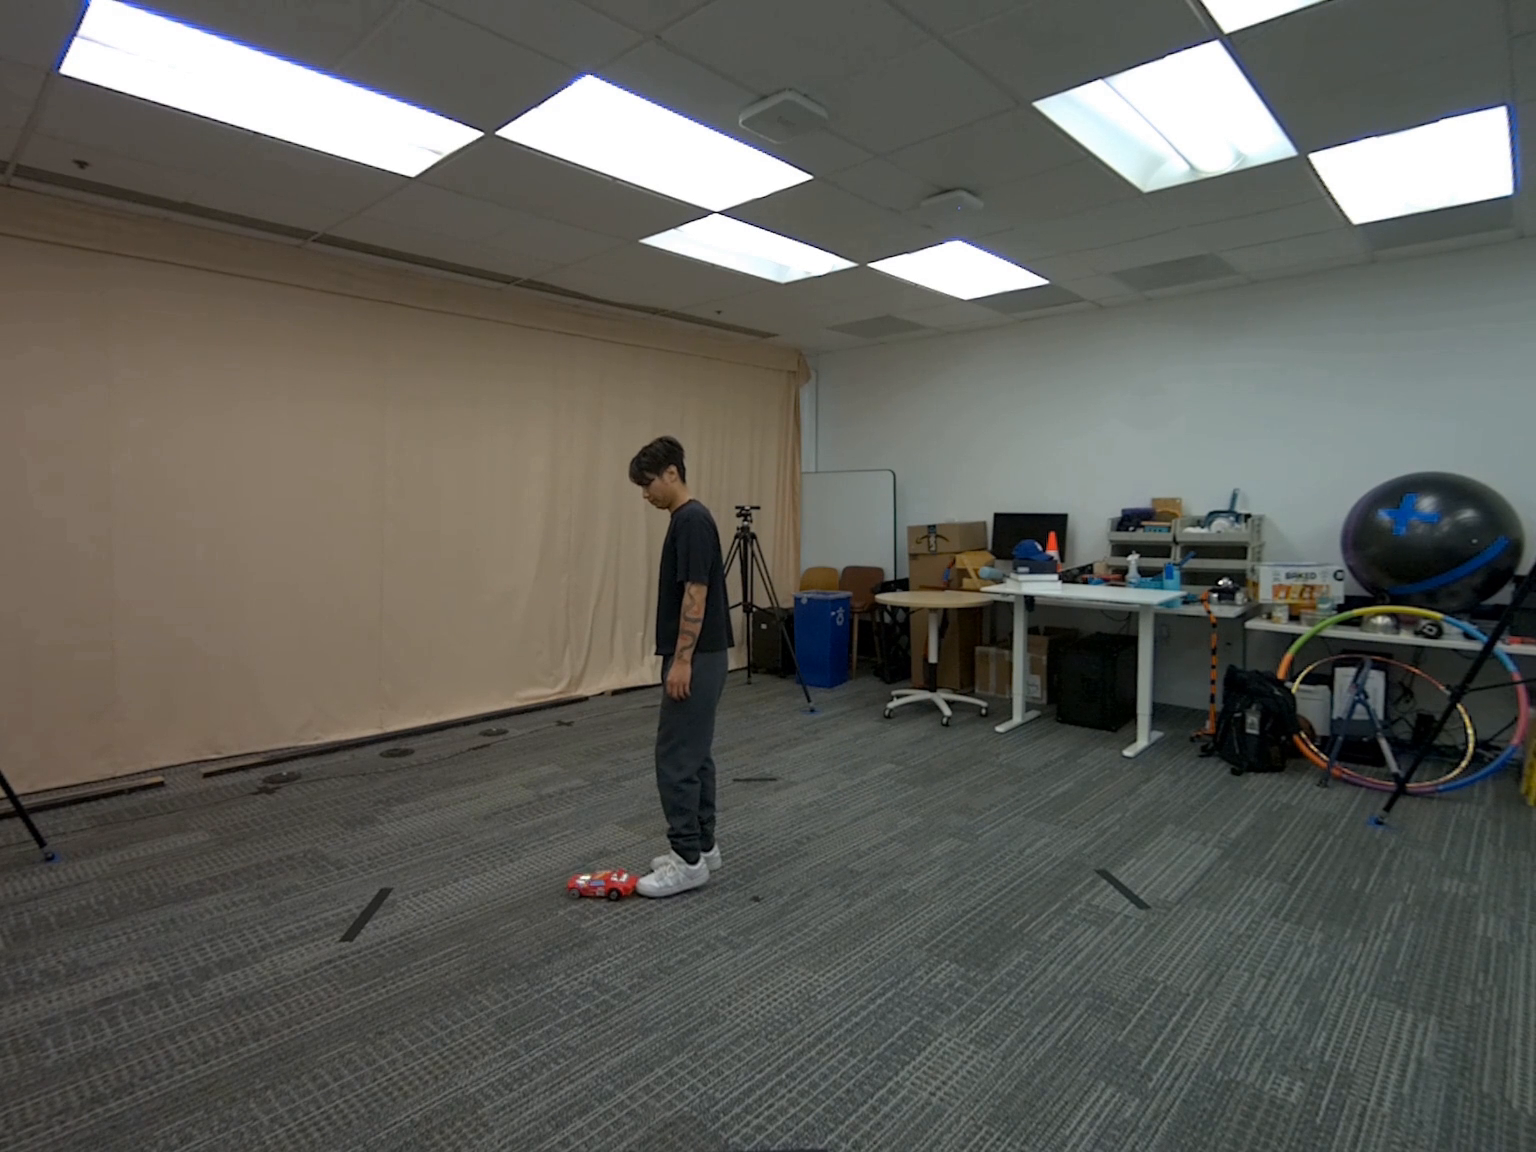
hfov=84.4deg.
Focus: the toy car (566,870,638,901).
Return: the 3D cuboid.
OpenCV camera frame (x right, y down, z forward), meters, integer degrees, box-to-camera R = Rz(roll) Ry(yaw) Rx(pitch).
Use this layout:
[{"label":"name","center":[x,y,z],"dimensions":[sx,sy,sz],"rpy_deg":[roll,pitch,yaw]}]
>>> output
[{"label":"toy car","center":[-0.589,1.116,3.032],"dimensions":[0.256,0.083,0.130],"rpy_deg":[-11,4,6]}]
